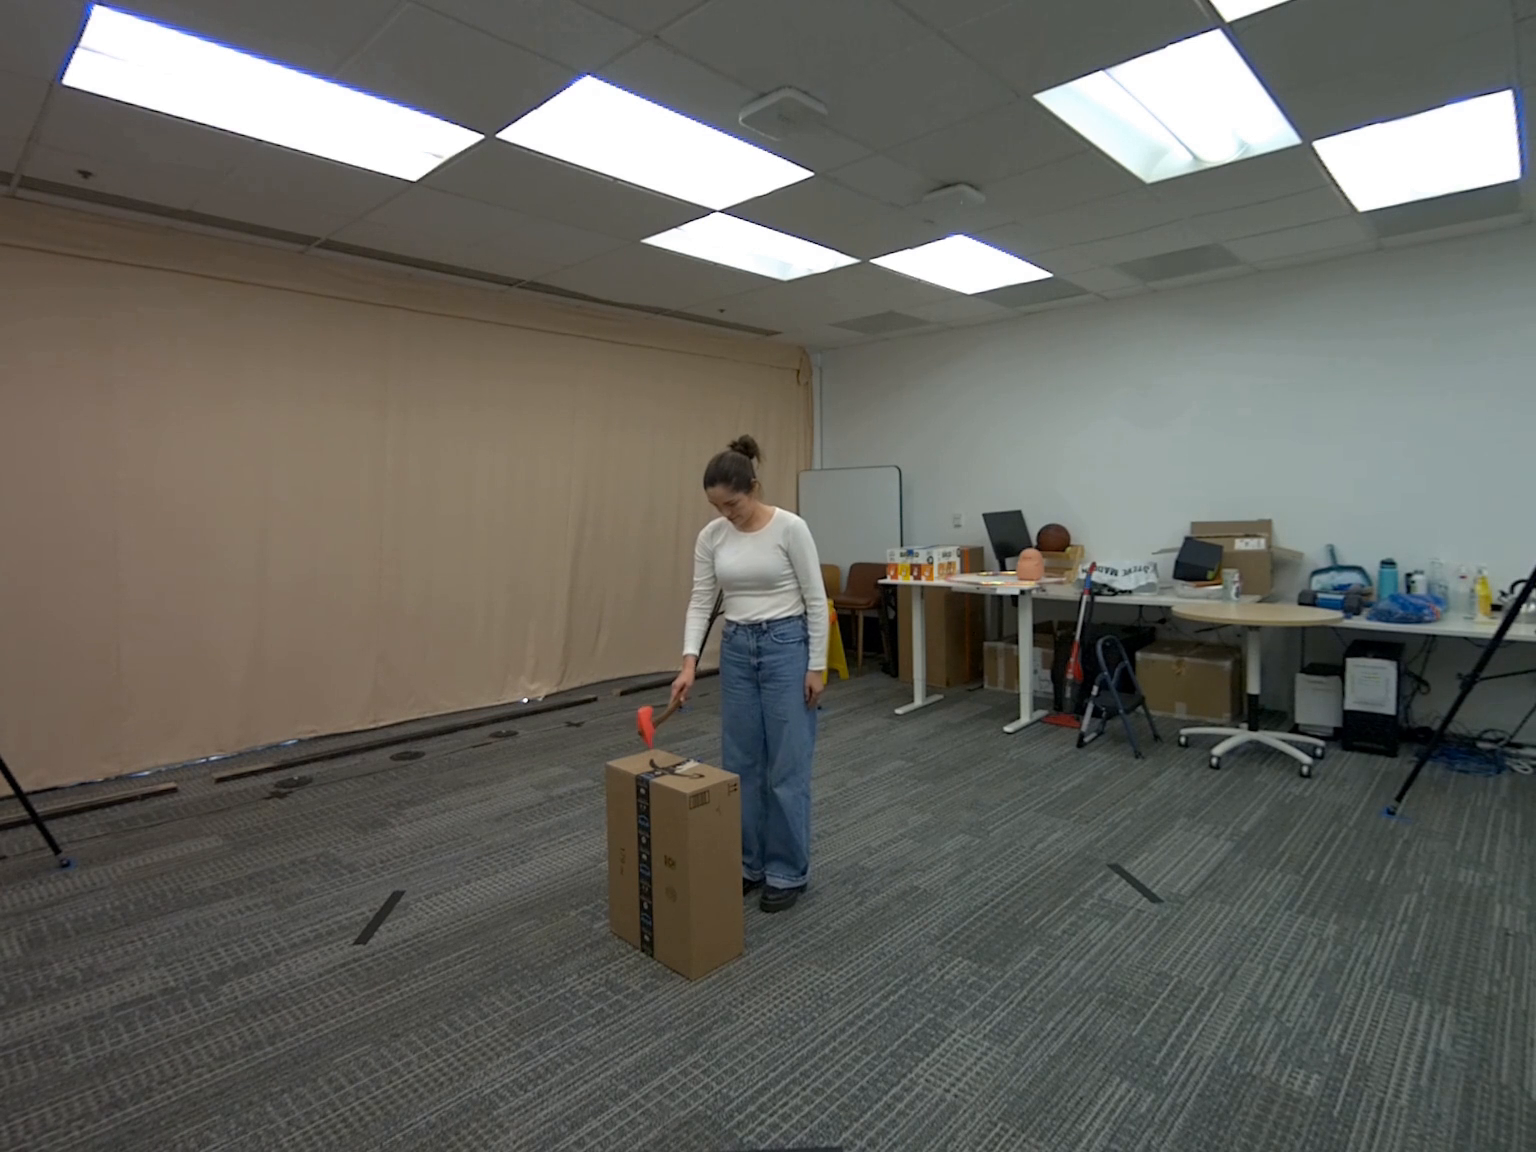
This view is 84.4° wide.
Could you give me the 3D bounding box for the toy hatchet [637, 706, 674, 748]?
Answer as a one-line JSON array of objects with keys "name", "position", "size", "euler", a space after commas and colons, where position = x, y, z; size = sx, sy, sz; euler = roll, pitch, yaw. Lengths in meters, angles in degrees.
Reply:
[{"name": "toy hatchet", "position": [-0.351, 0.439, 2.771], "size": [0.030, 0.128, 0.269], "euler": [-9, 32, 33]}]
